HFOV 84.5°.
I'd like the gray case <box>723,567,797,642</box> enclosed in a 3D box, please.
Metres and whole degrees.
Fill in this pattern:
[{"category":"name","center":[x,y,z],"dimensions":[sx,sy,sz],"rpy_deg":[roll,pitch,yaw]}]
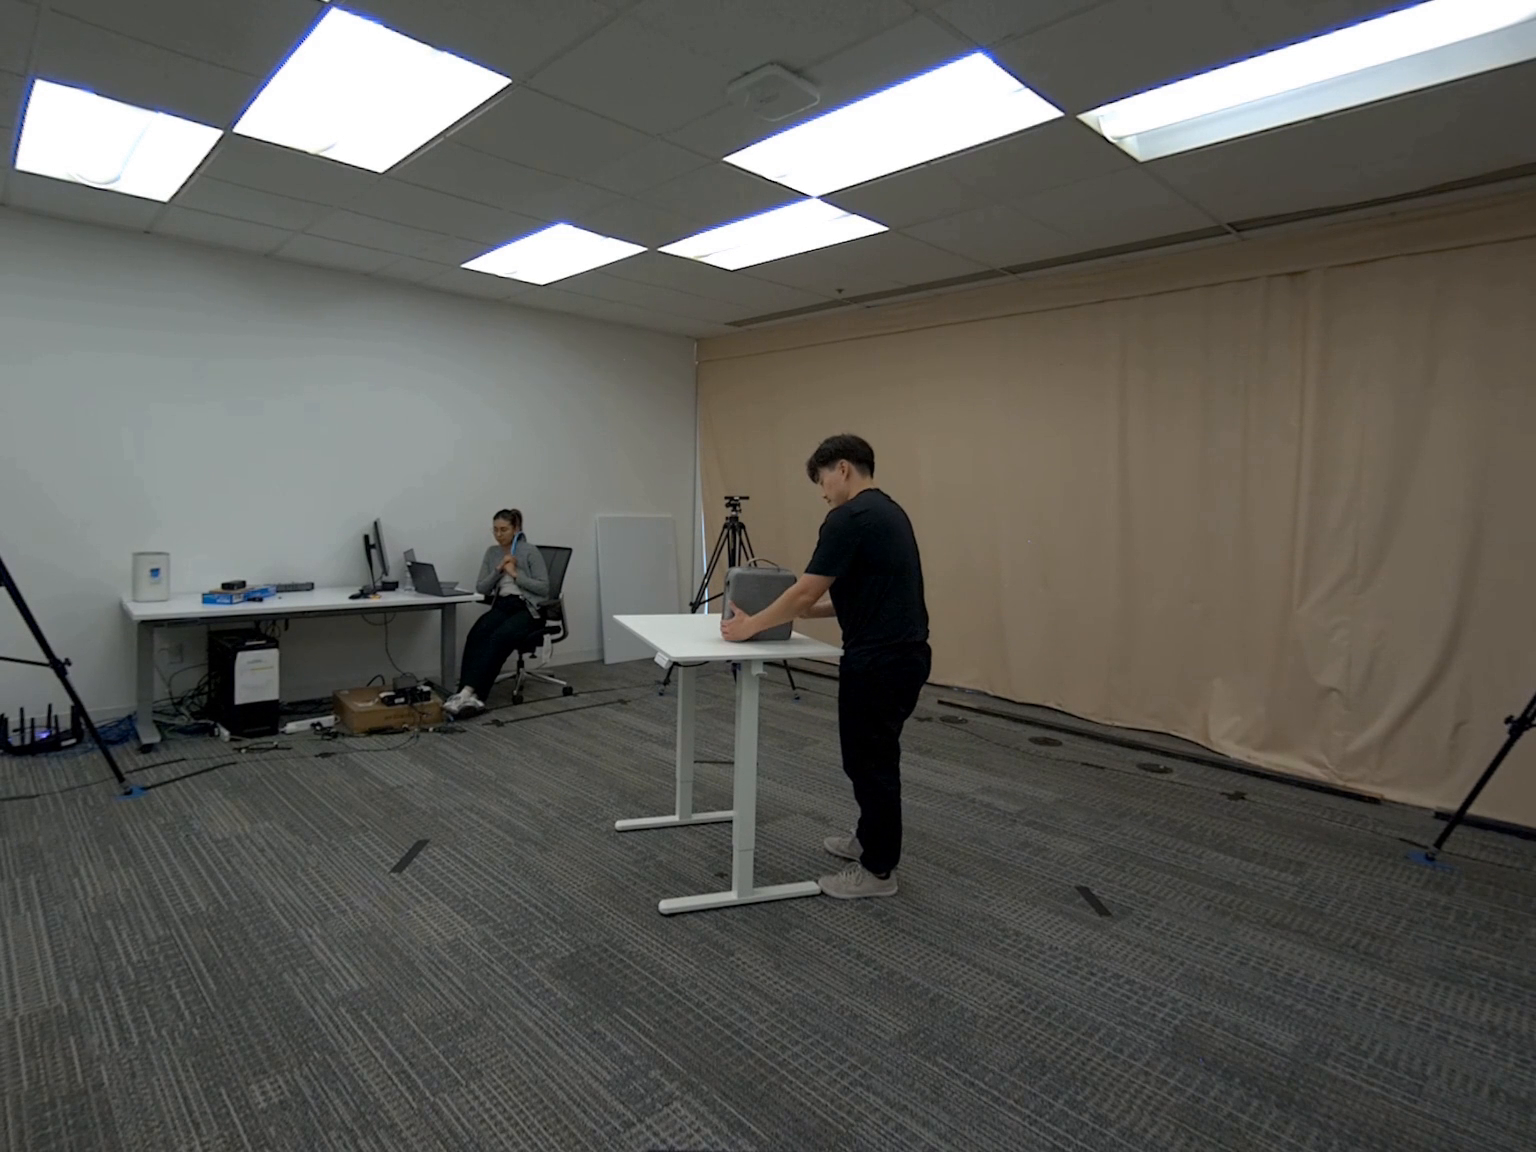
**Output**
[{"category":"gray case","center":[-0.032,0.096,3.022],"dimensions":[0.254,0.259,0.106],"rpy_deg":[3,8,-13]}]
